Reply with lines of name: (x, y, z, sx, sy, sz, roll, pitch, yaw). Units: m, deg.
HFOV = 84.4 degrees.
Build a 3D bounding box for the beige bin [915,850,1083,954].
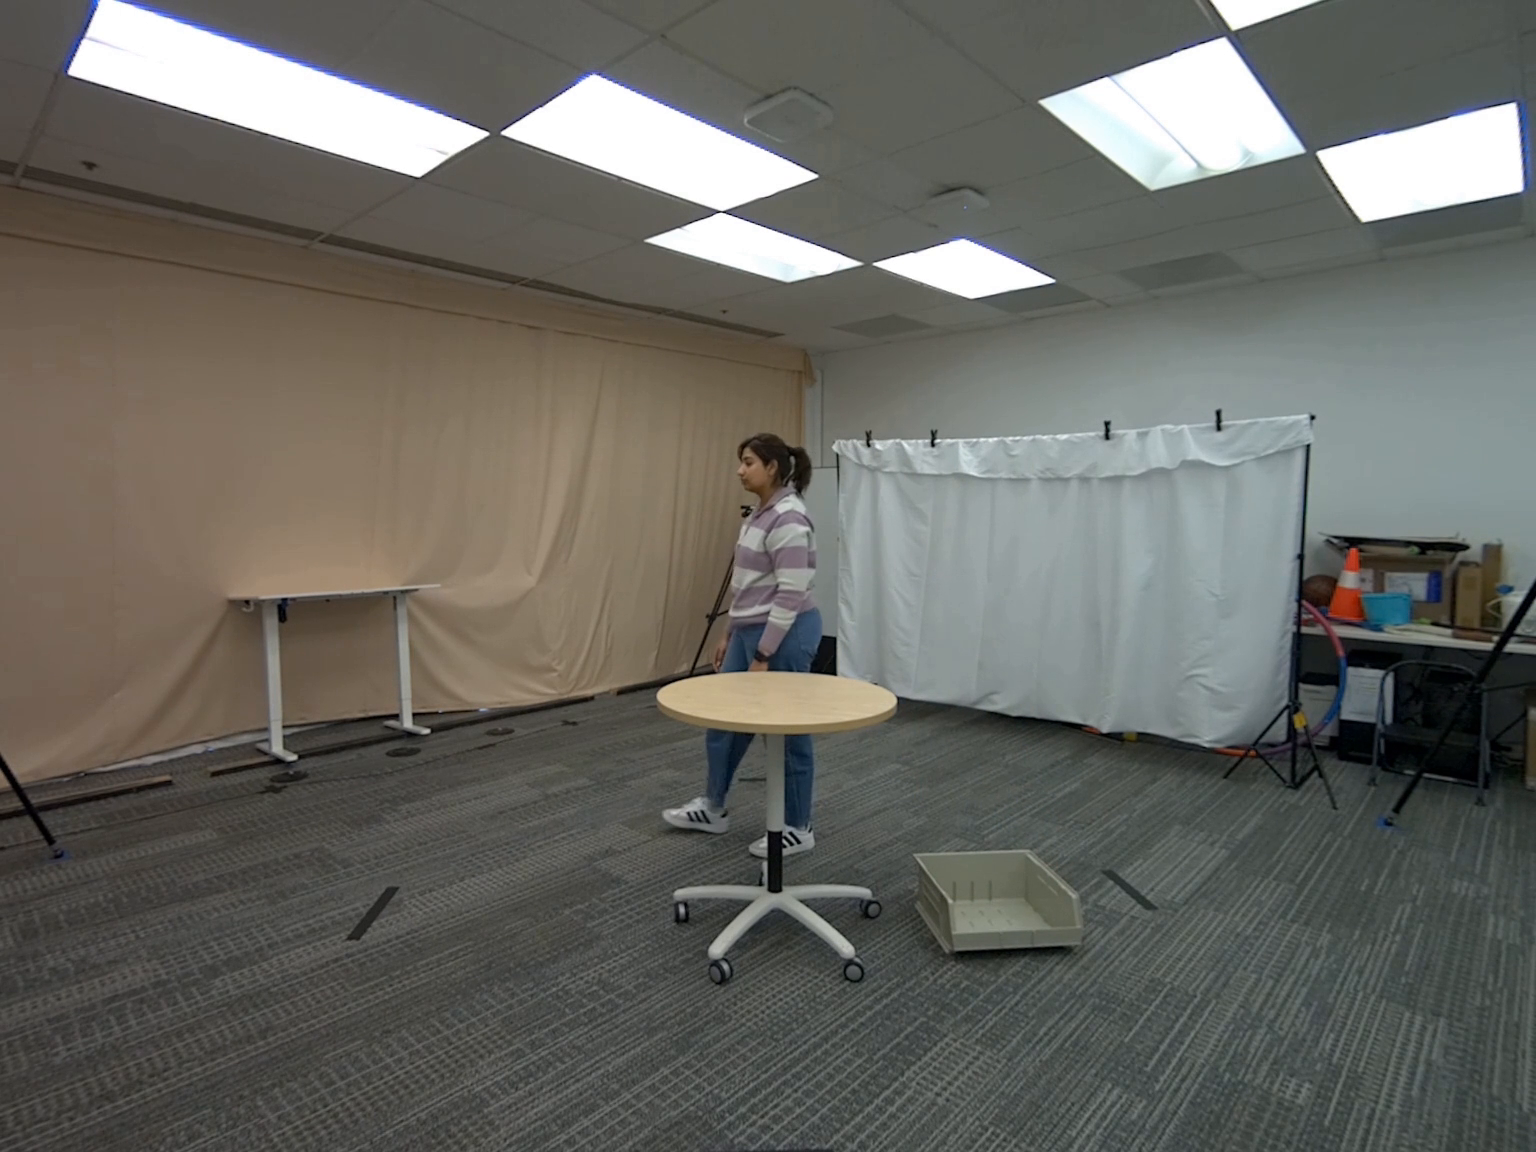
beige bin: (0.747, 1.071, 2.757, 0.420, 0.188, 0.381, -1, 4, -7)
